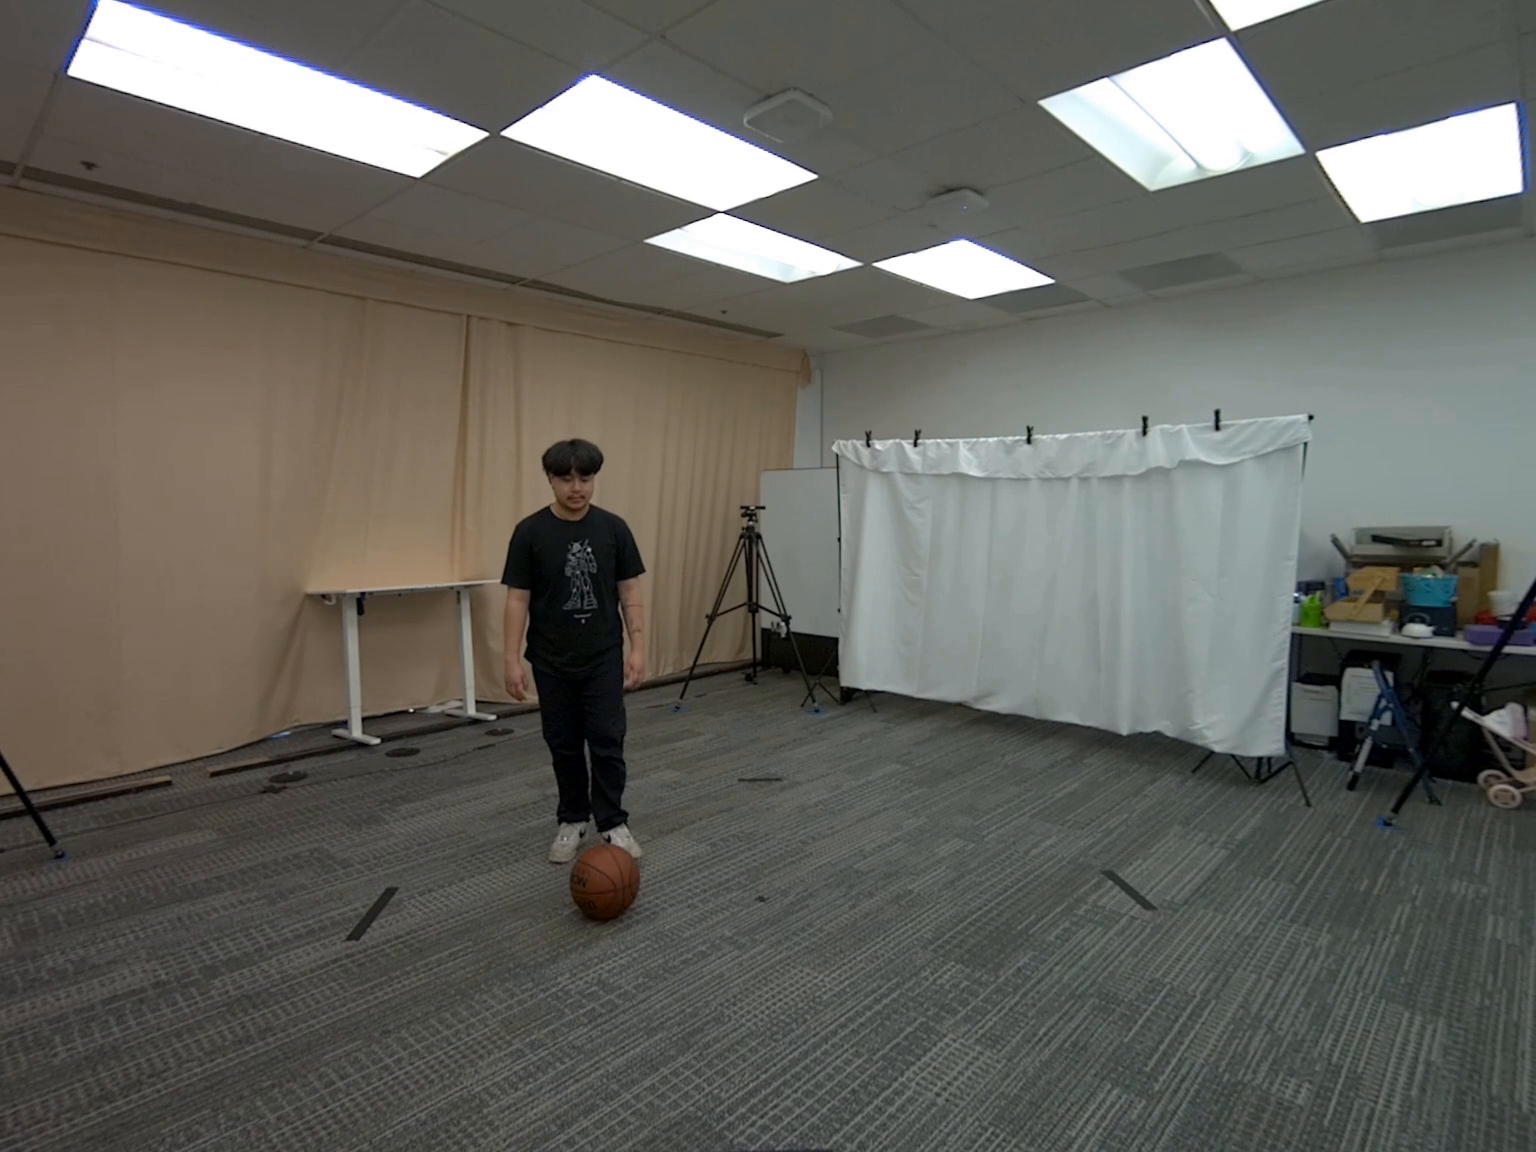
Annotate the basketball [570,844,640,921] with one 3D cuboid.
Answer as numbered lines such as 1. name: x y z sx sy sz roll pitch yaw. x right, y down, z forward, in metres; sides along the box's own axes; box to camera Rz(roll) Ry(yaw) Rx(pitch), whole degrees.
1. basketball: -0.549 1.036 2.868 0.236 0.235 0.237 0 4 -2
